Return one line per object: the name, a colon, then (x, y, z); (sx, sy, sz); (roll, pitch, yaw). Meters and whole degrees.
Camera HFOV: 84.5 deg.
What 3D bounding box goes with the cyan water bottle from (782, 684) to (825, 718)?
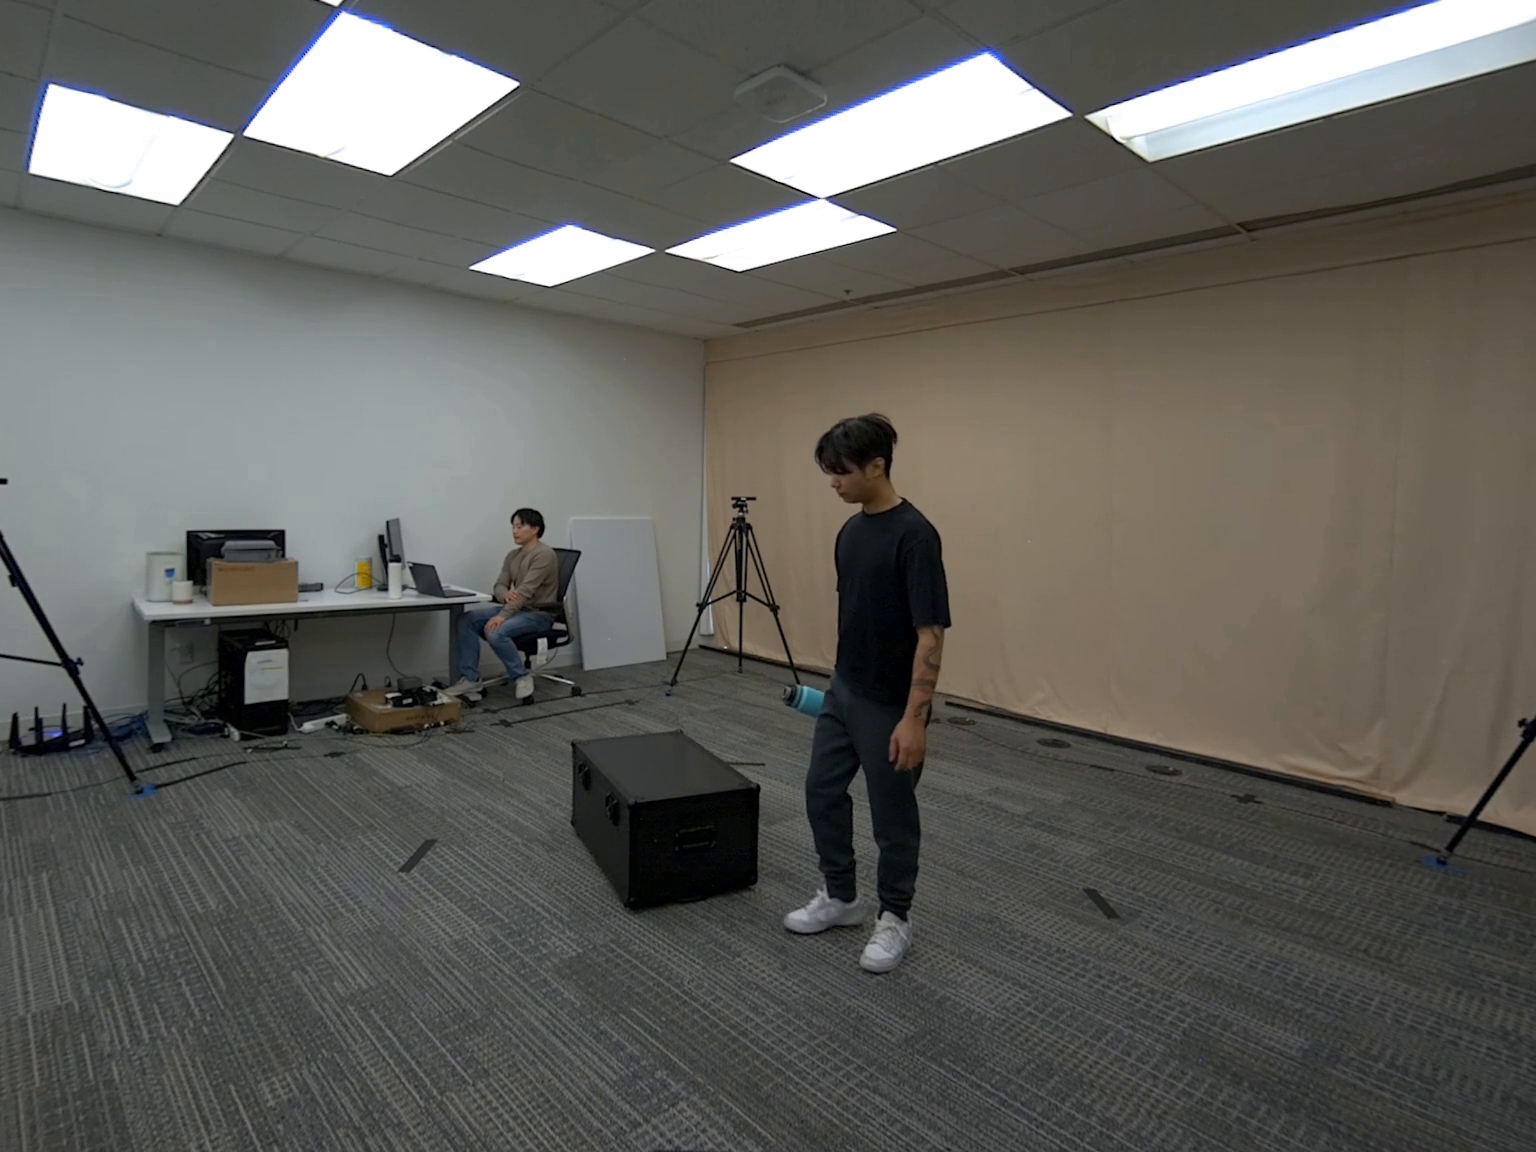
cyan water bottle: (0.176, 0.442, 2.832); (0.281, 0.092, 0.093); (19, 2, -7)
